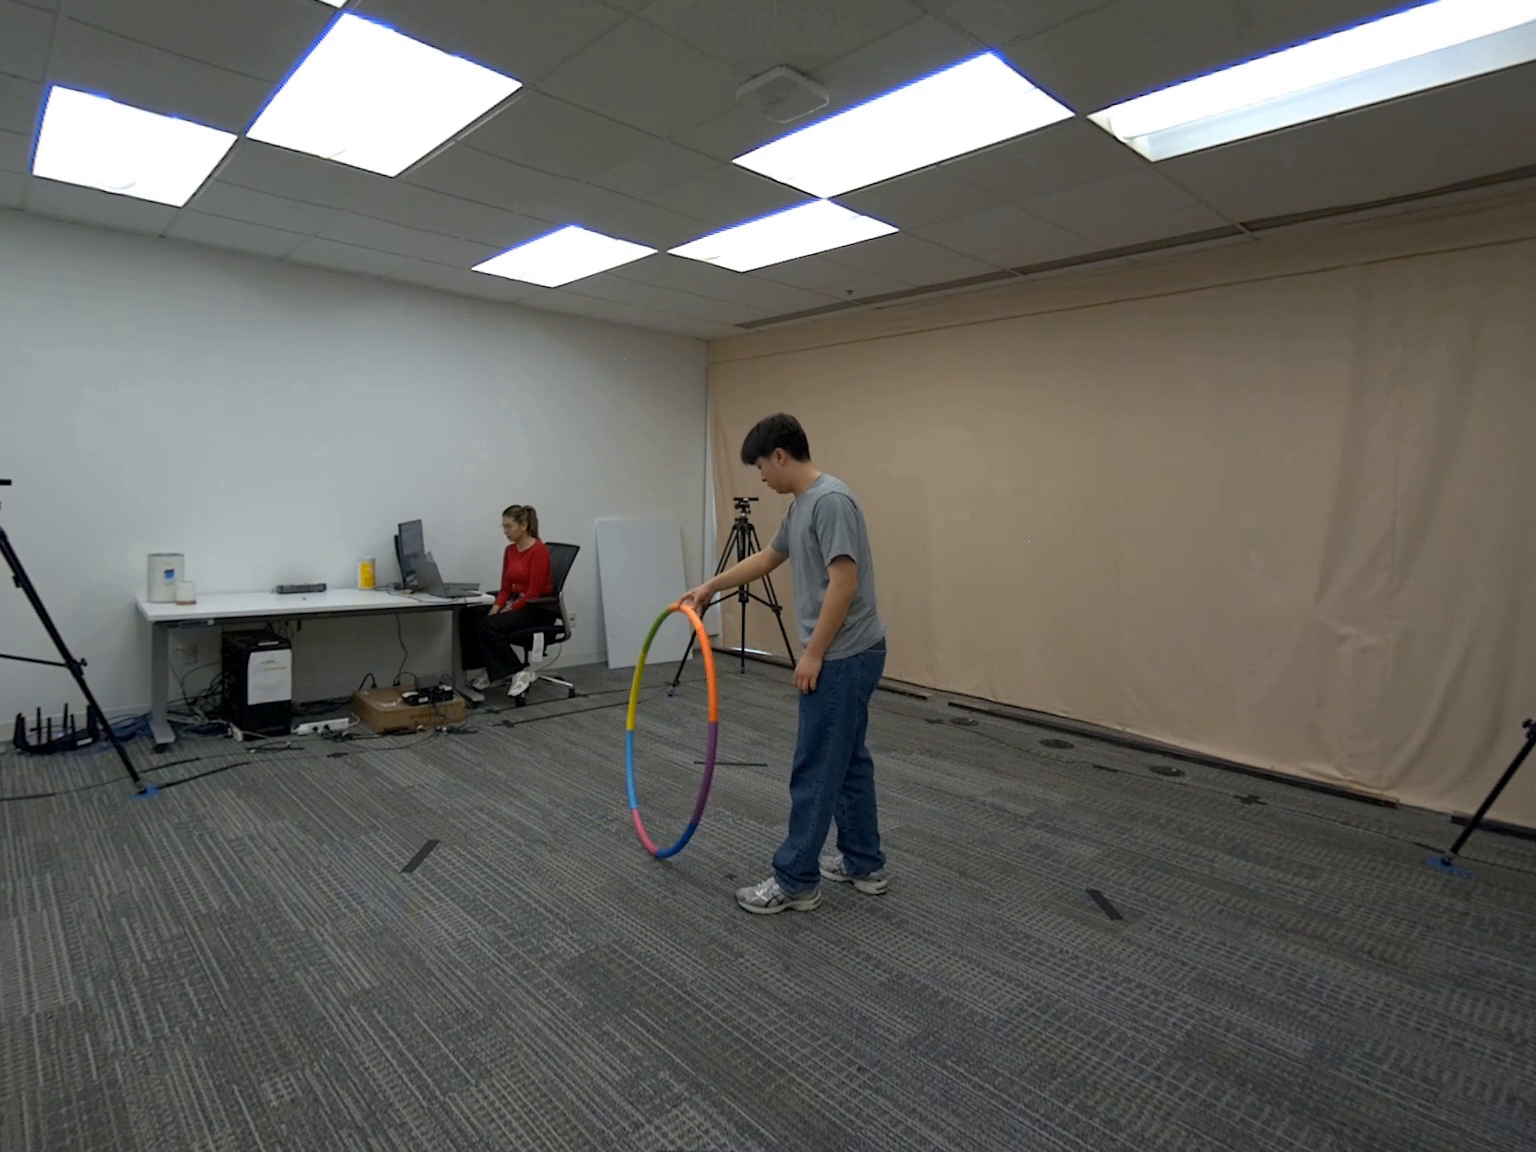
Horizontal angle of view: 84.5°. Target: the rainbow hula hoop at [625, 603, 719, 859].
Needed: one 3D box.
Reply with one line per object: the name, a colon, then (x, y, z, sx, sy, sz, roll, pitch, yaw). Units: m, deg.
rainbow hula hoop: (-0.419, 0.593, 3.343, 0.035, 0.978, 0.998, 9, 1, -25)
